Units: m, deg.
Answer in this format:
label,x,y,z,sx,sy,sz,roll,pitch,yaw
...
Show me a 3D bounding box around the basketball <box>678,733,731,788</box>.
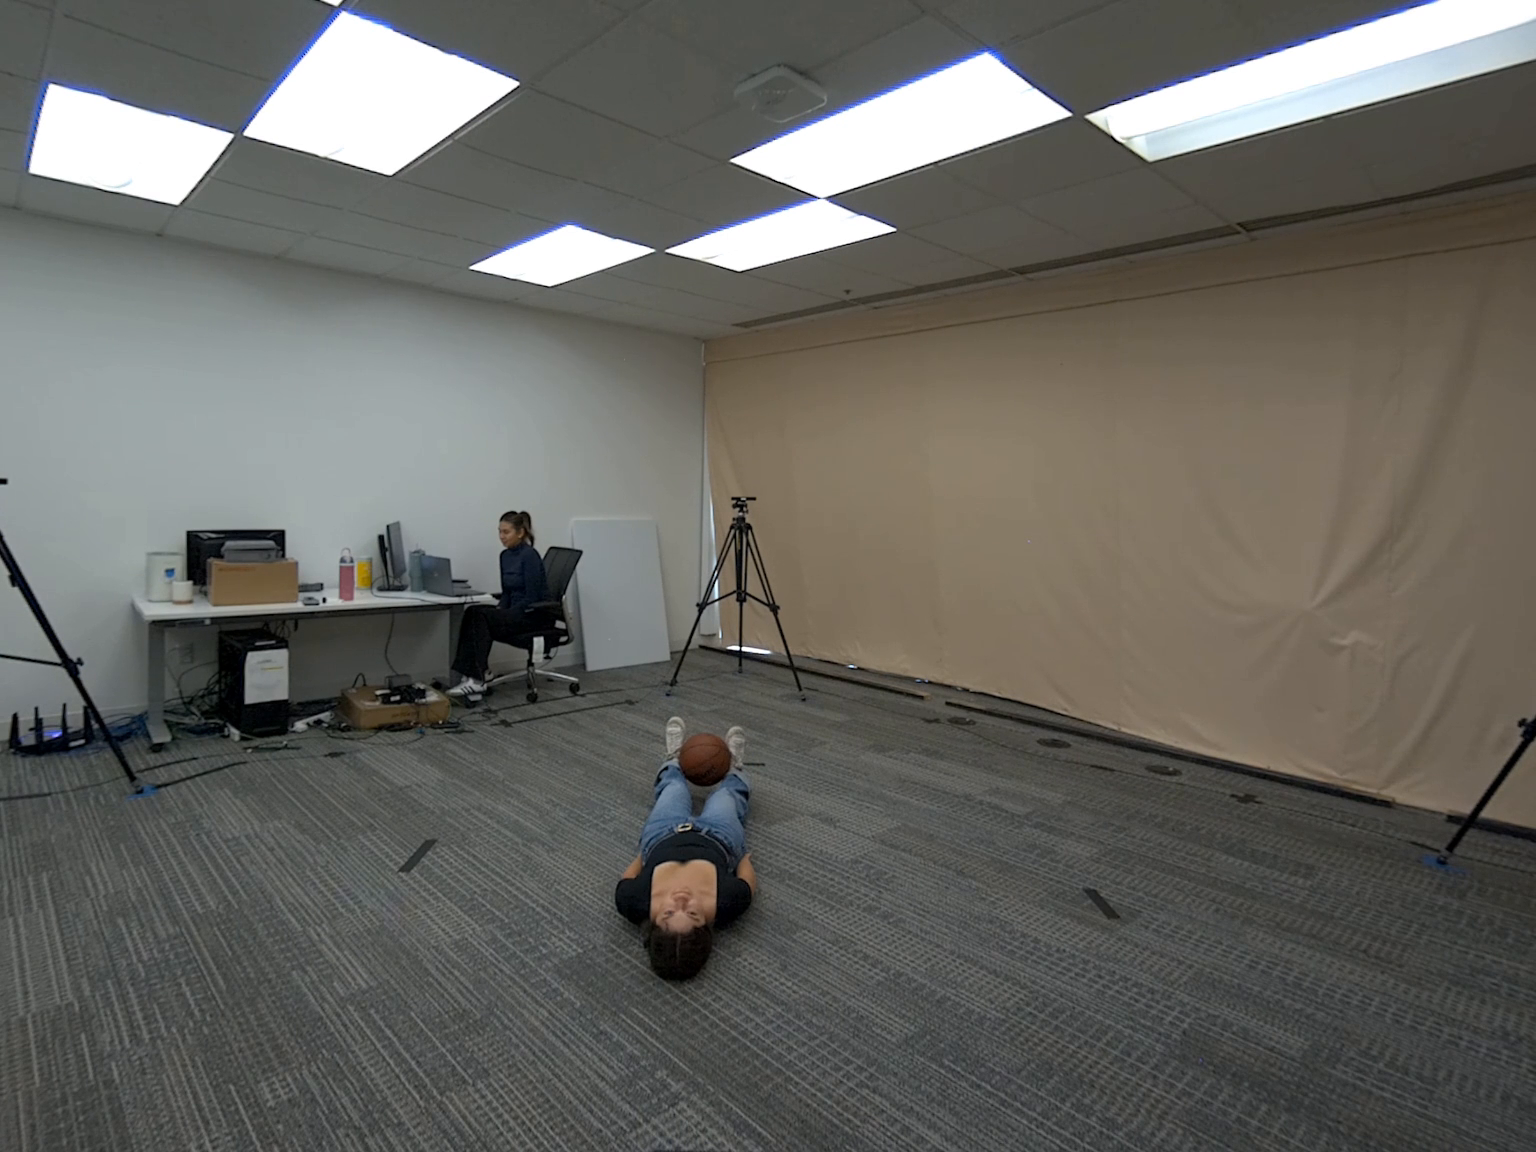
label,x,y,z,sx,sy,sz,roll,pitch,yaw
basketball,-0.300,0.838,3.860,0.236,0.235,0.237,1,4,-1
